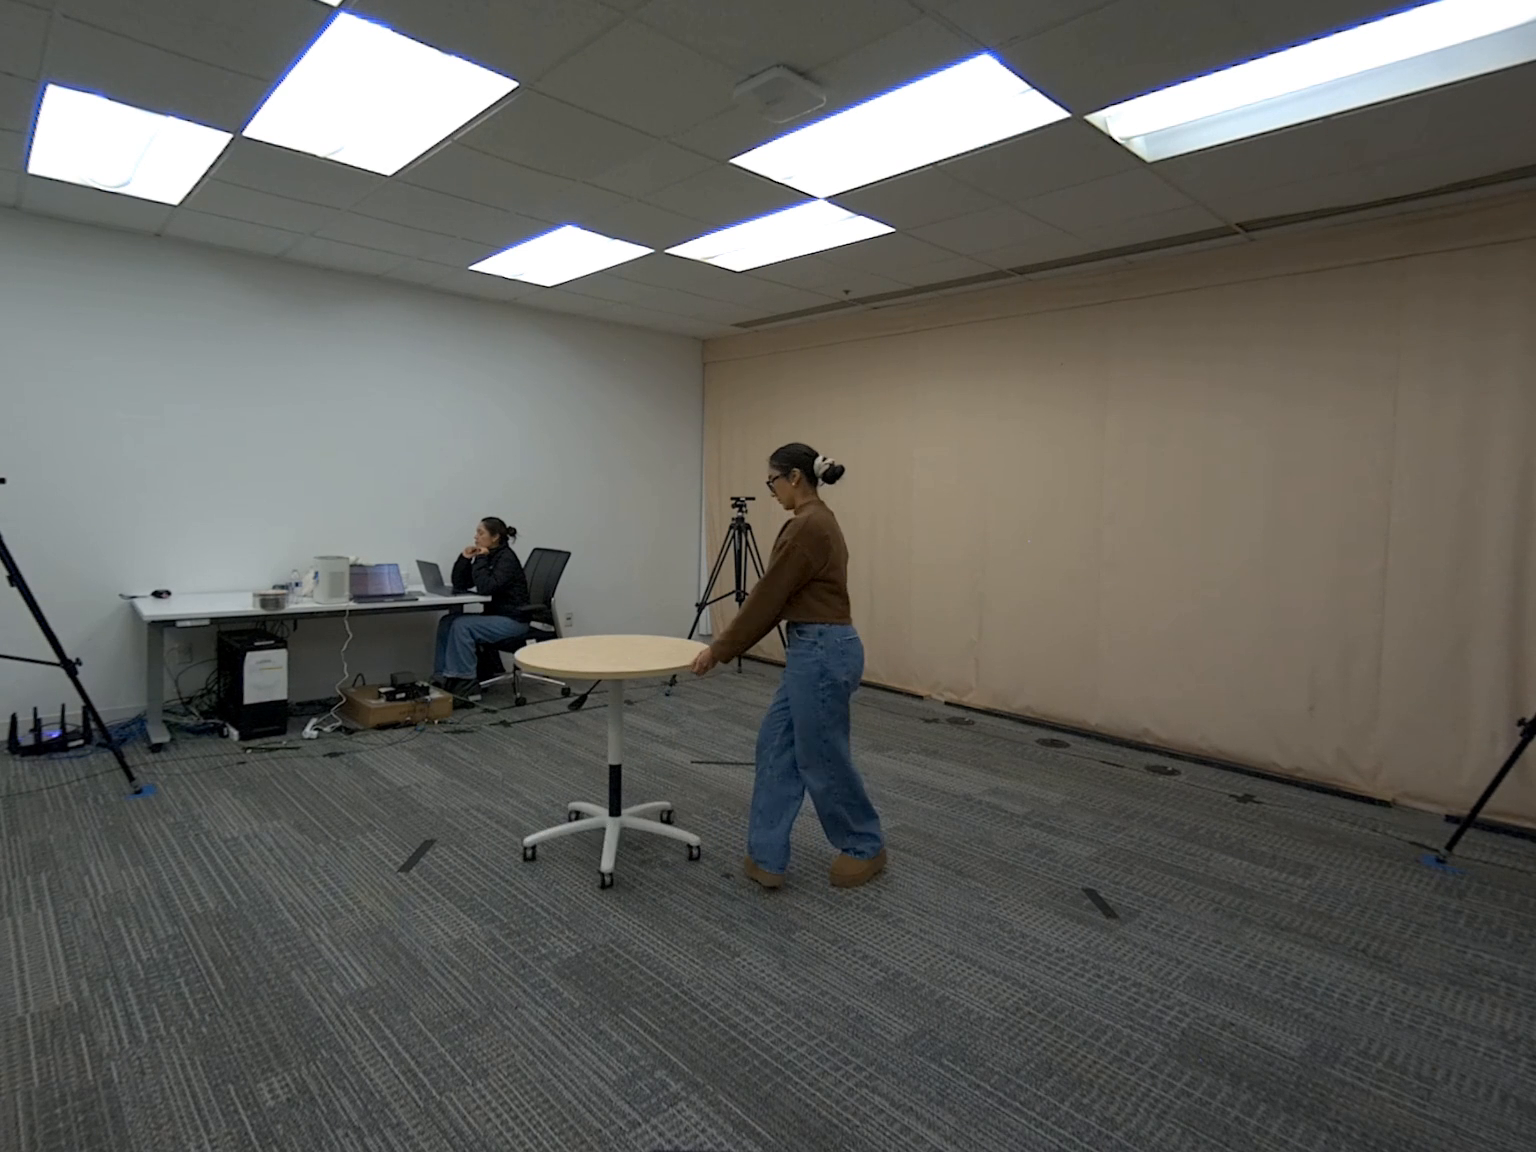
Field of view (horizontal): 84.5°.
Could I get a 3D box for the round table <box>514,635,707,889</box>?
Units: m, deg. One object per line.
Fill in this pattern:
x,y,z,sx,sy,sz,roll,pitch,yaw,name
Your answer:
-0.574,0.680,3.298,0.784,0.784,0.788,1,4,-1,round table
